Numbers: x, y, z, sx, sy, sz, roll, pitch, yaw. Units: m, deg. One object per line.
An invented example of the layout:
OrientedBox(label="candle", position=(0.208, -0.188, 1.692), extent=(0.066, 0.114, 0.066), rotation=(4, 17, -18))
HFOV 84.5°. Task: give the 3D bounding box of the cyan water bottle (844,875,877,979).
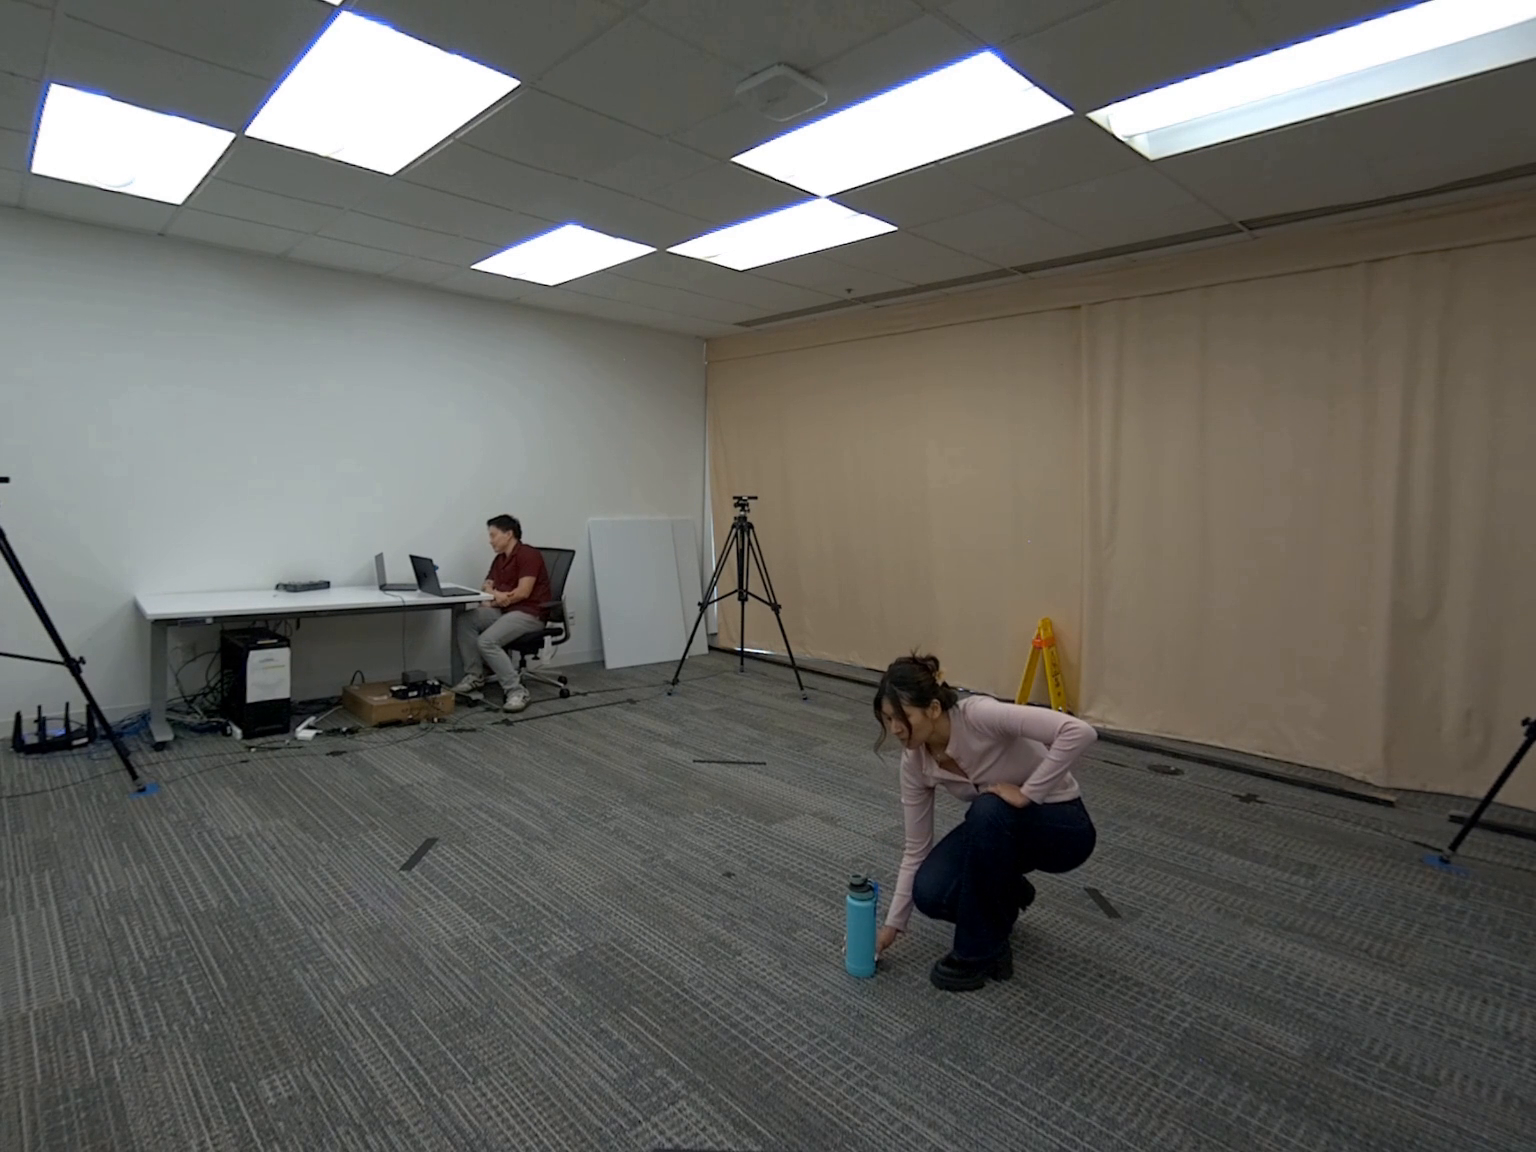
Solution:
OrientedBox(label="cyan water bottle", position=(0.279, 1.025, 2.484), extent=(0.092, 0.283, 0.092), rotation=(3, 4, -2))
